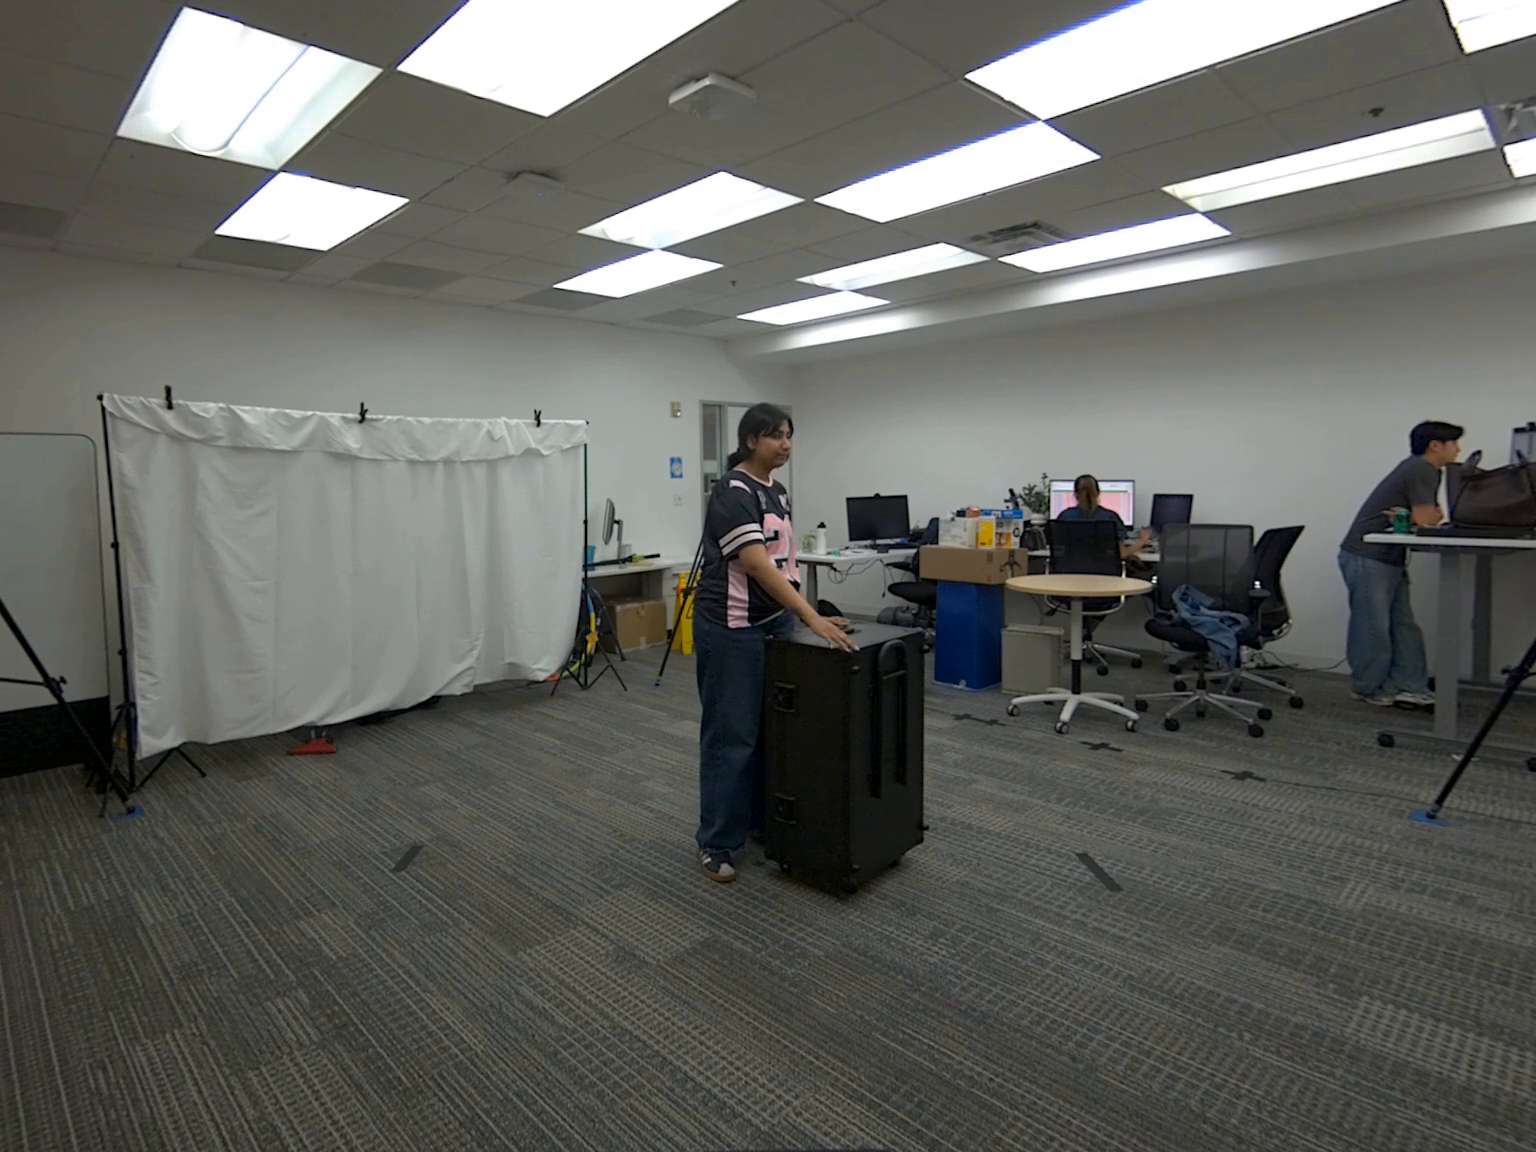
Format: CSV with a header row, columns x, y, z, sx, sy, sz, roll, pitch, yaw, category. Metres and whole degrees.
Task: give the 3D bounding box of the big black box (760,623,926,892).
x,y,z,sx,sy,sz,roll,pitch,yaw,category
0.290,0.627,3.027,0.397,0.865,0.510,3,6,42,big black box
